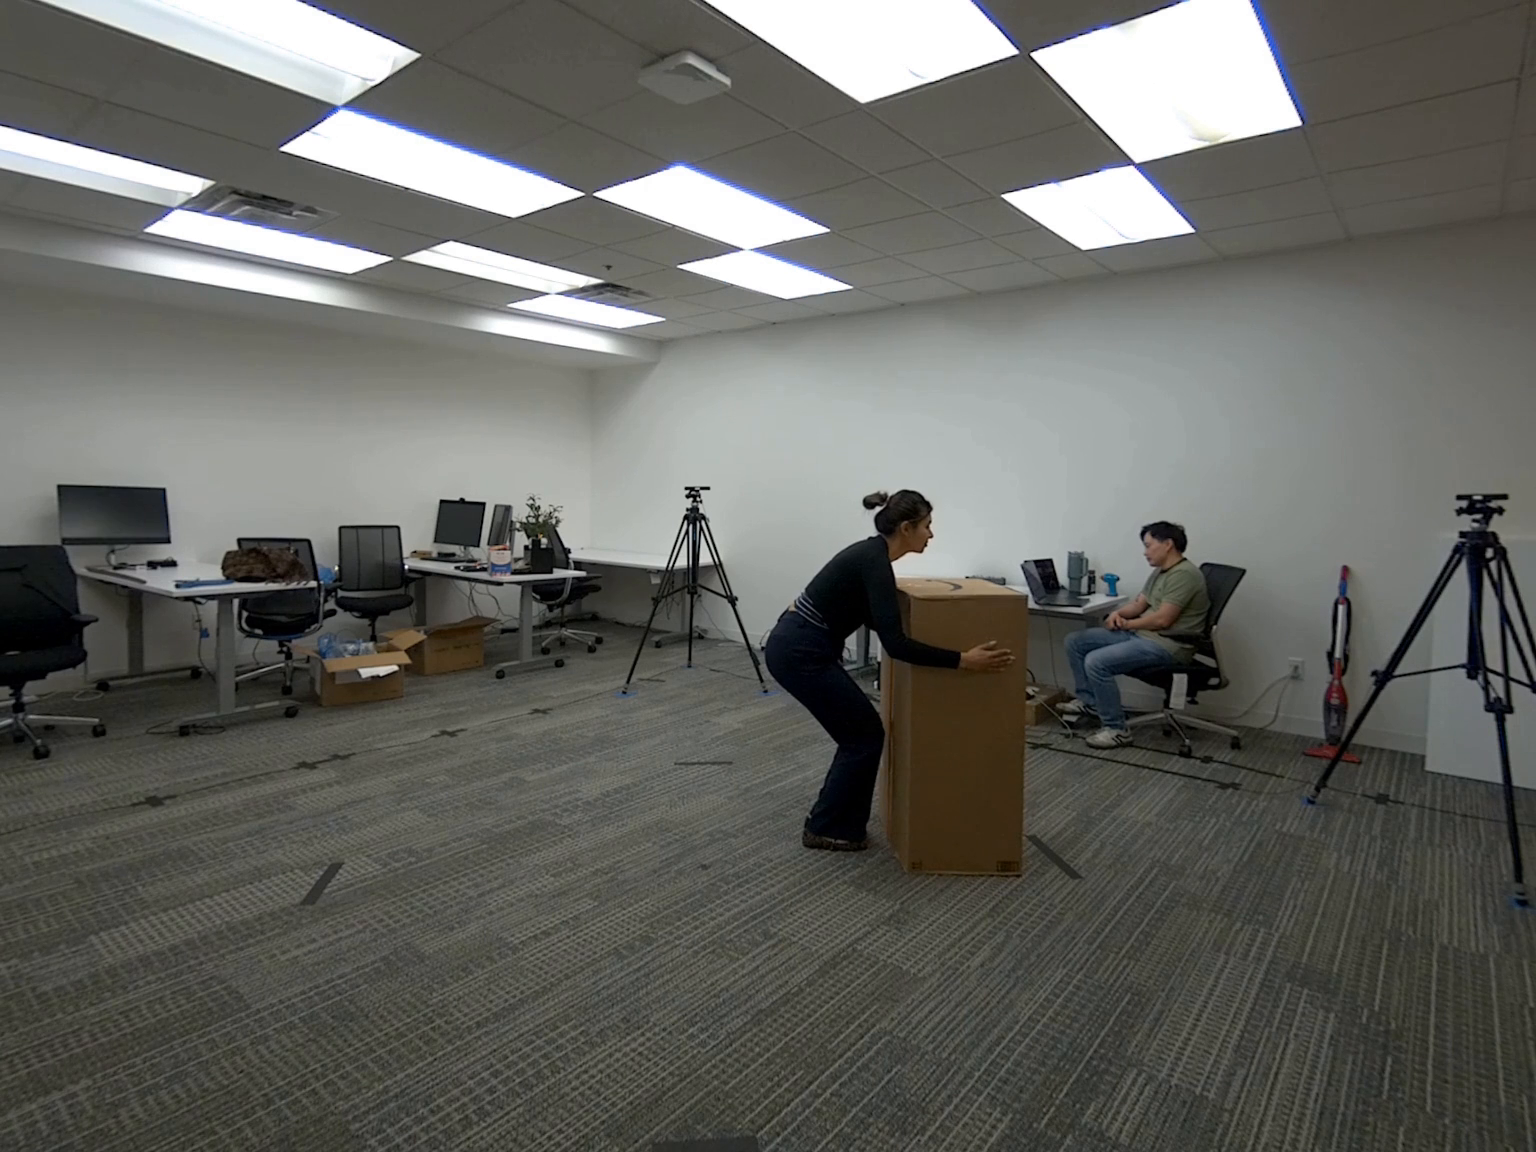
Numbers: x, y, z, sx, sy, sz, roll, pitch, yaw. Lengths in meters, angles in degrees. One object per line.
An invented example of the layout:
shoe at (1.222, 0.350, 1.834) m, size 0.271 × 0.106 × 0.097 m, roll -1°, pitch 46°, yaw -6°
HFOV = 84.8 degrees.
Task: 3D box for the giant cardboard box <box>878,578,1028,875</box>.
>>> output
giant cardboard box at (0.701, 0.547, 3.346) m, size 0.425 × 1.022 × 0.581 m, roll 0°, pitch 4°, yaw -3°
